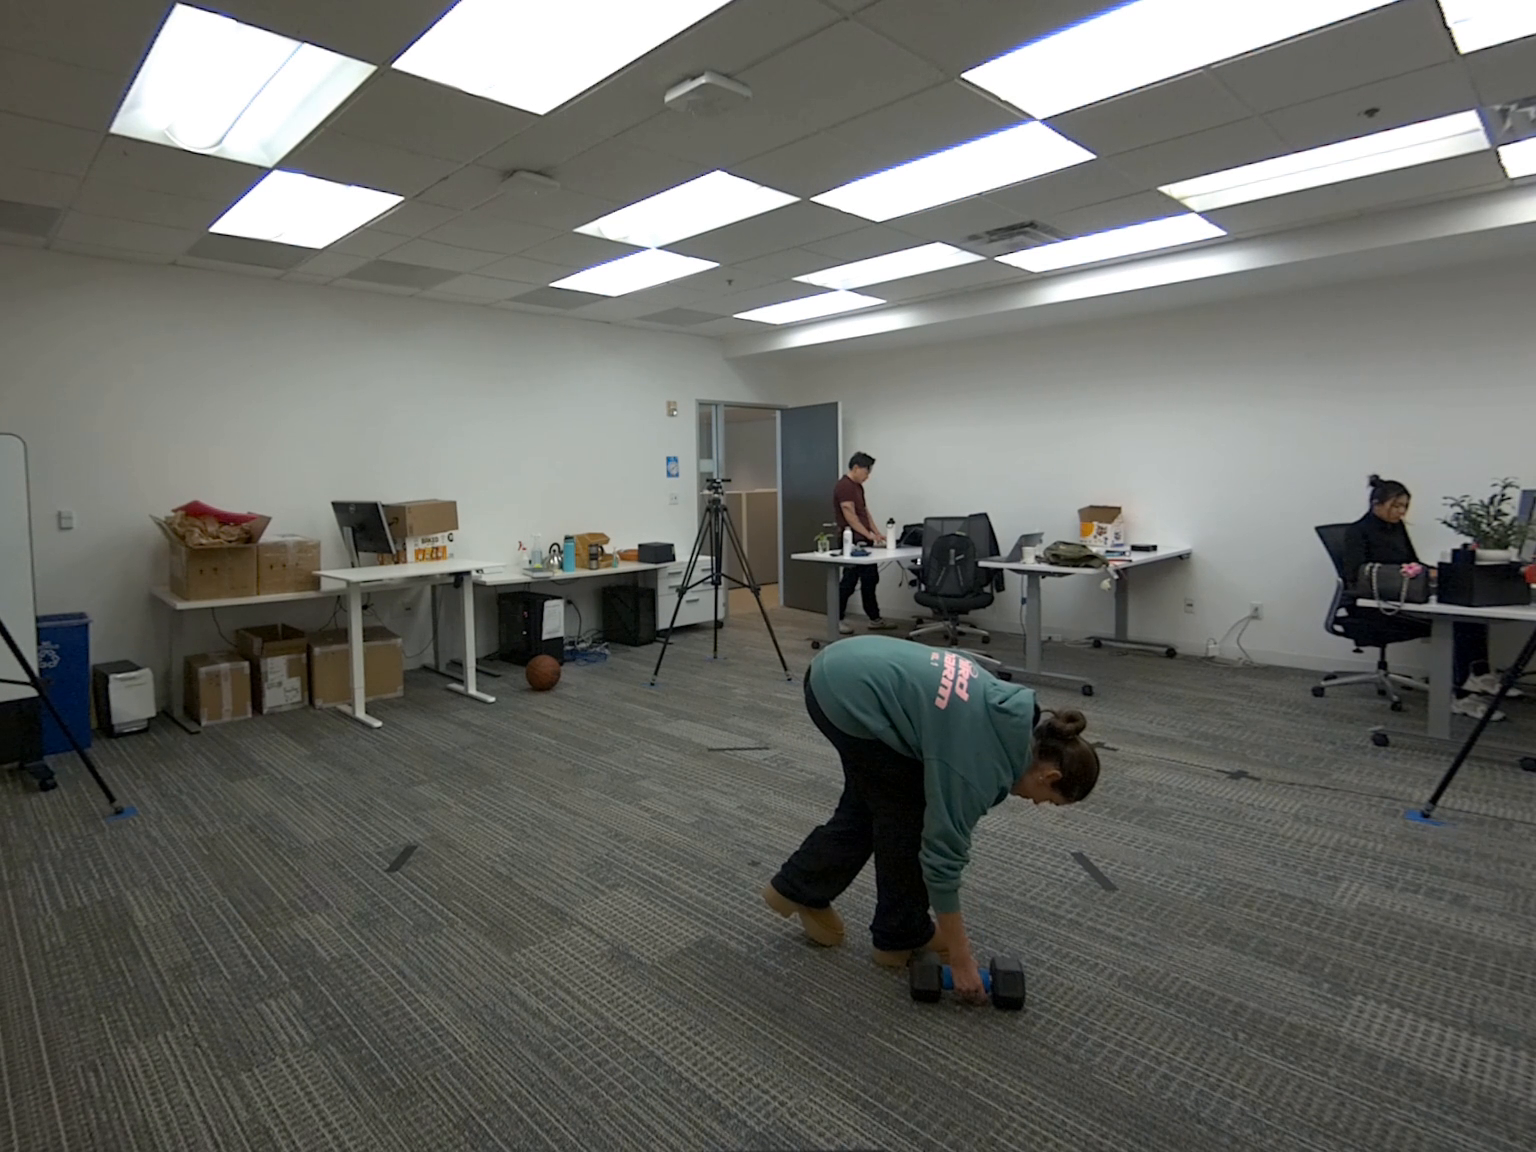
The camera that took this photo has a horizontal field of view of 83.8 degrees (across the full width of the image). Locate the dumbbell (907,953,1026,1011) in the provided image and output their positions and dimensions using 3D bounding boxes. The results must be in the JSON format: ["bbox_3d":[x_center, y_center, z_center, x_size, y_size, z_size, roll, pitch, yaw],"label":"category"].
[{"bbox_3d":[0.533,1.074,2.276,0.296,0.119,0.111,-1,34,10],"label":"dumbbell"}]
